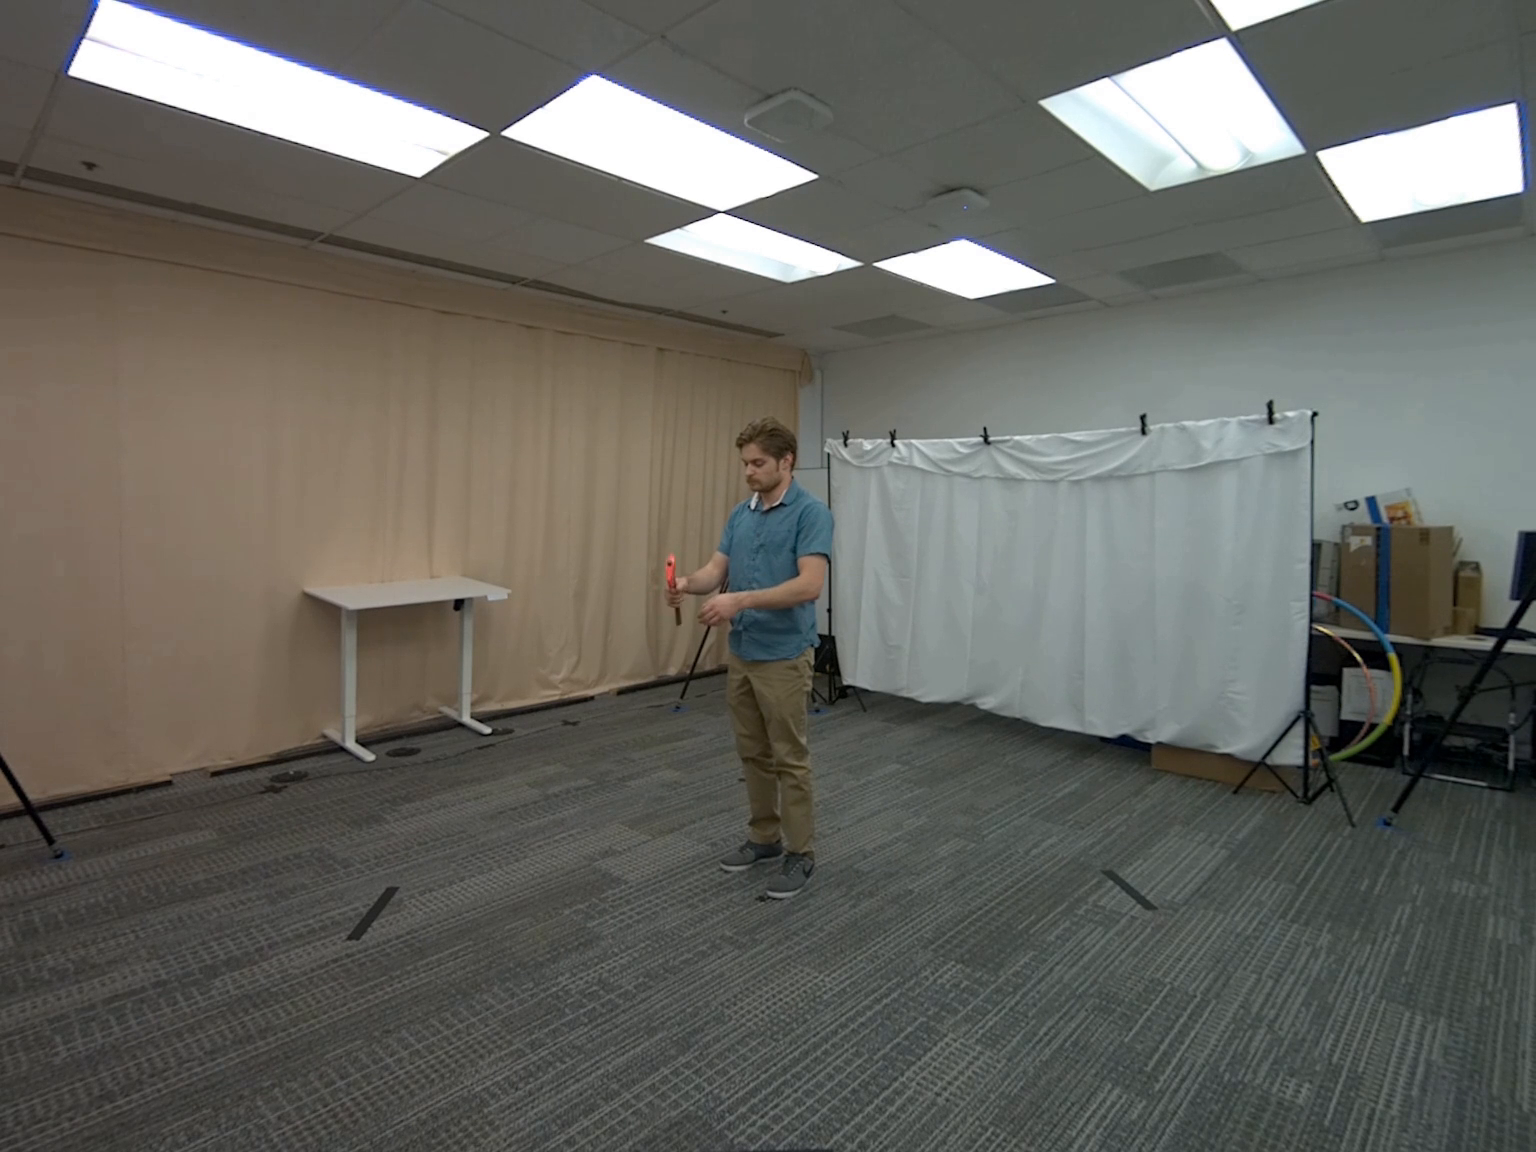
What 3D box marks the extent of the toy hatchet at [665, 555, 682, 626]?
[{"bbox_3d":[-0.317,0.072,2.887,0.030,0.266,0.133,-7,23,1],"label":"toy hatchet"}]
